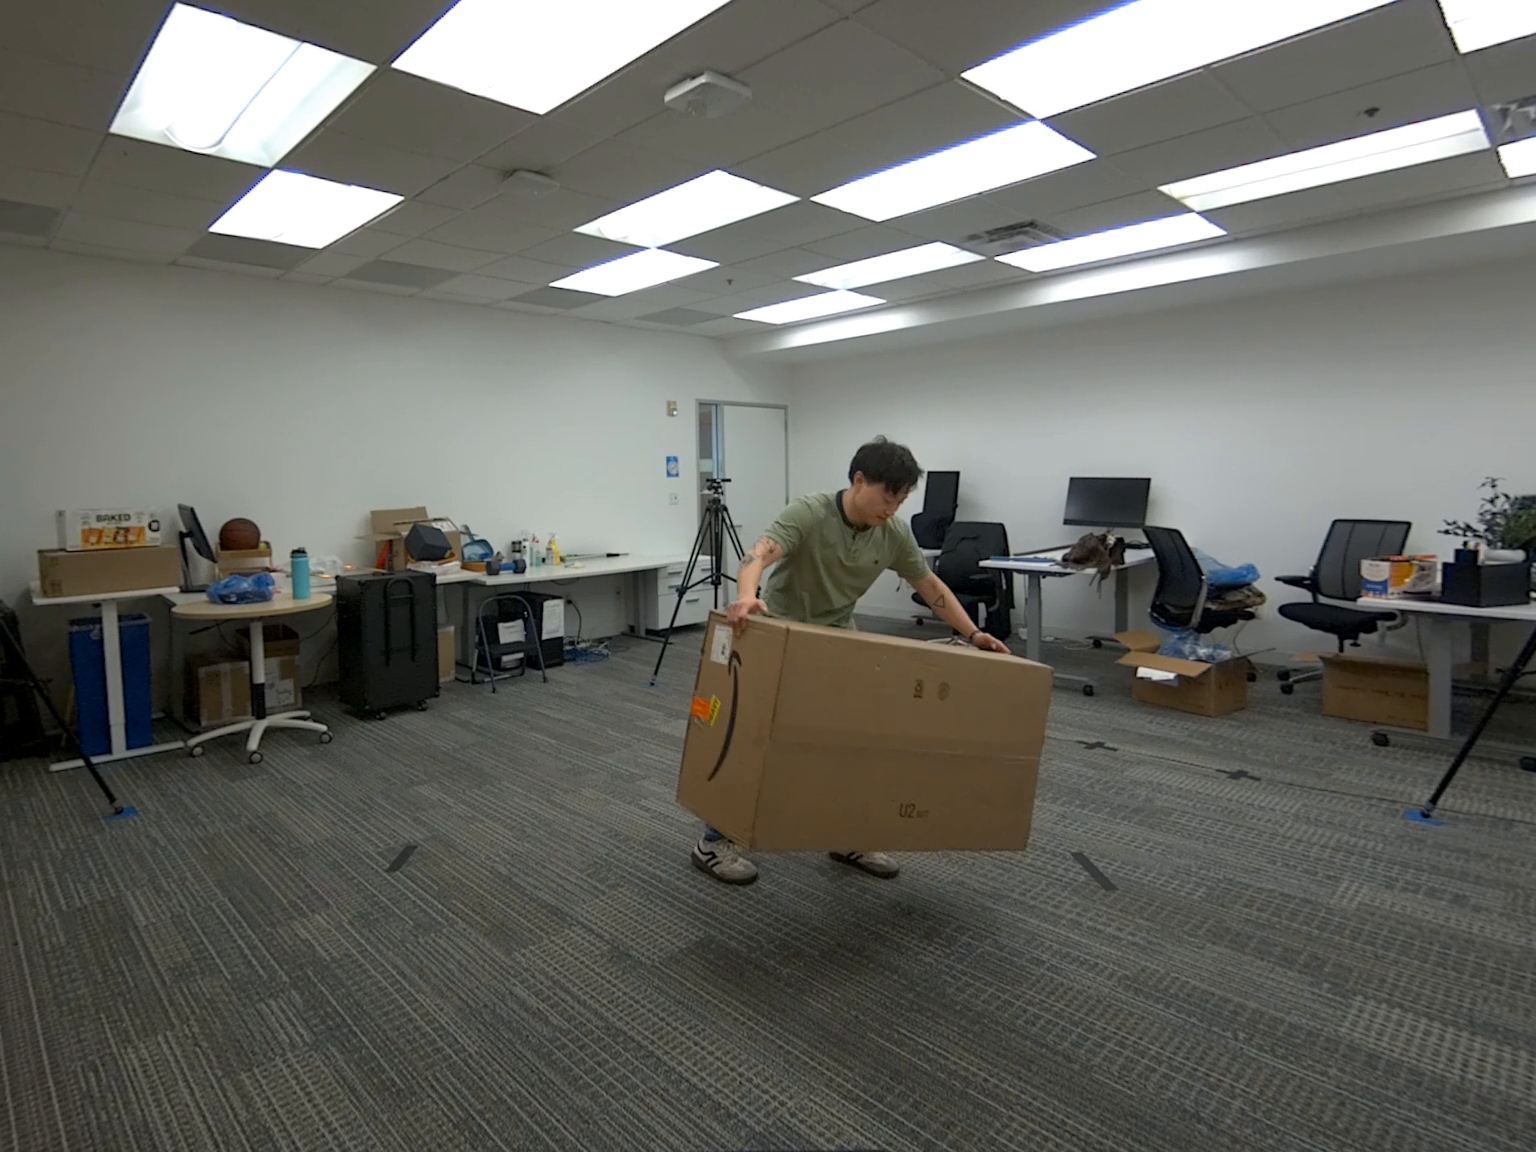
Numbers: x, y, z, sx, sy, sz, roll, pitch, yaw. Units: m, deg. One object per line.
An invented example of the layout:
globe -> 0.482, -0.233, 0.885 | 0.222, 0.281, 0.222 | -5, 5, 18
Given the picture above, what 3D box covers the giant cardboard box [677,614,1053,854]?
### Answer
giant cardboard box -> 0.306, 0.473, 2.582 | 0.996, 0.579, 0.437 | 11, -4, -30
